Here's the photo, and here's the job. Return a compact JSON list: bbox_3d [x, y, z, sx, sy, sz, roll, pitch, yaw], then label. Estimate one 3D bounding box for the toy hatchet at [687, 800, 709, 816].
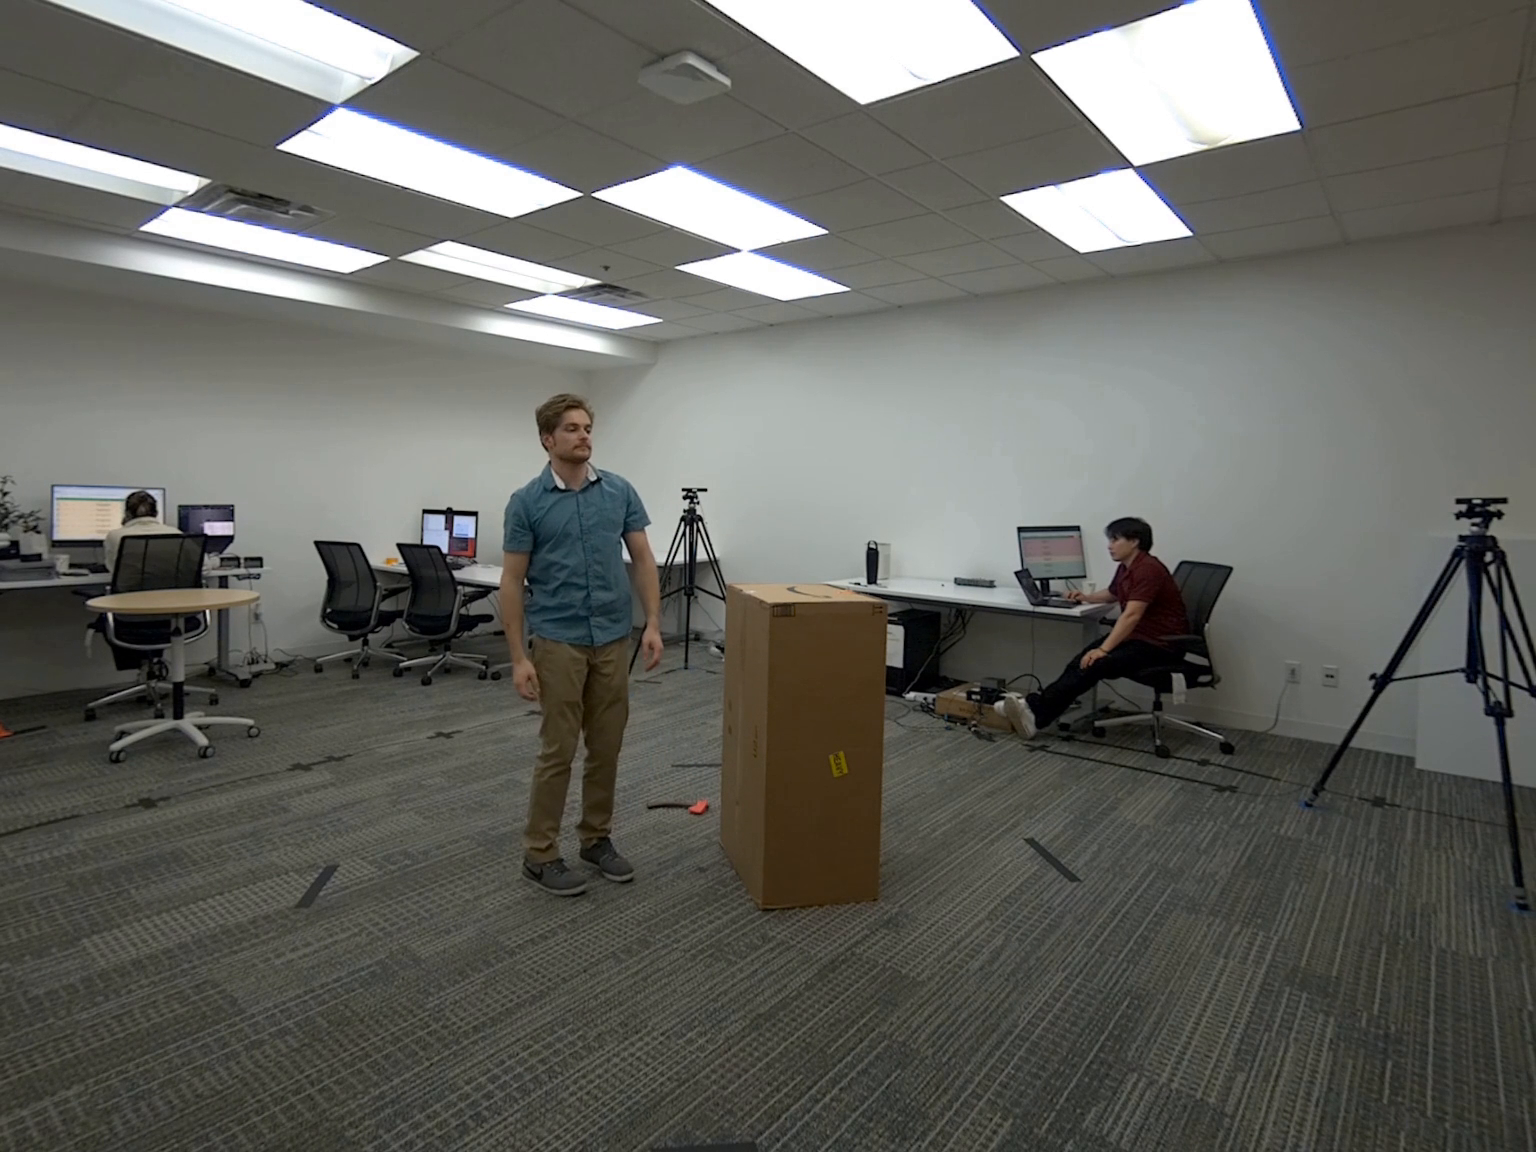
[{"bbox_3d":[-0.401,1.000,3.678,0.268,0.029,0.133,-2,10,-8],"label":"toy hatchet"}]
